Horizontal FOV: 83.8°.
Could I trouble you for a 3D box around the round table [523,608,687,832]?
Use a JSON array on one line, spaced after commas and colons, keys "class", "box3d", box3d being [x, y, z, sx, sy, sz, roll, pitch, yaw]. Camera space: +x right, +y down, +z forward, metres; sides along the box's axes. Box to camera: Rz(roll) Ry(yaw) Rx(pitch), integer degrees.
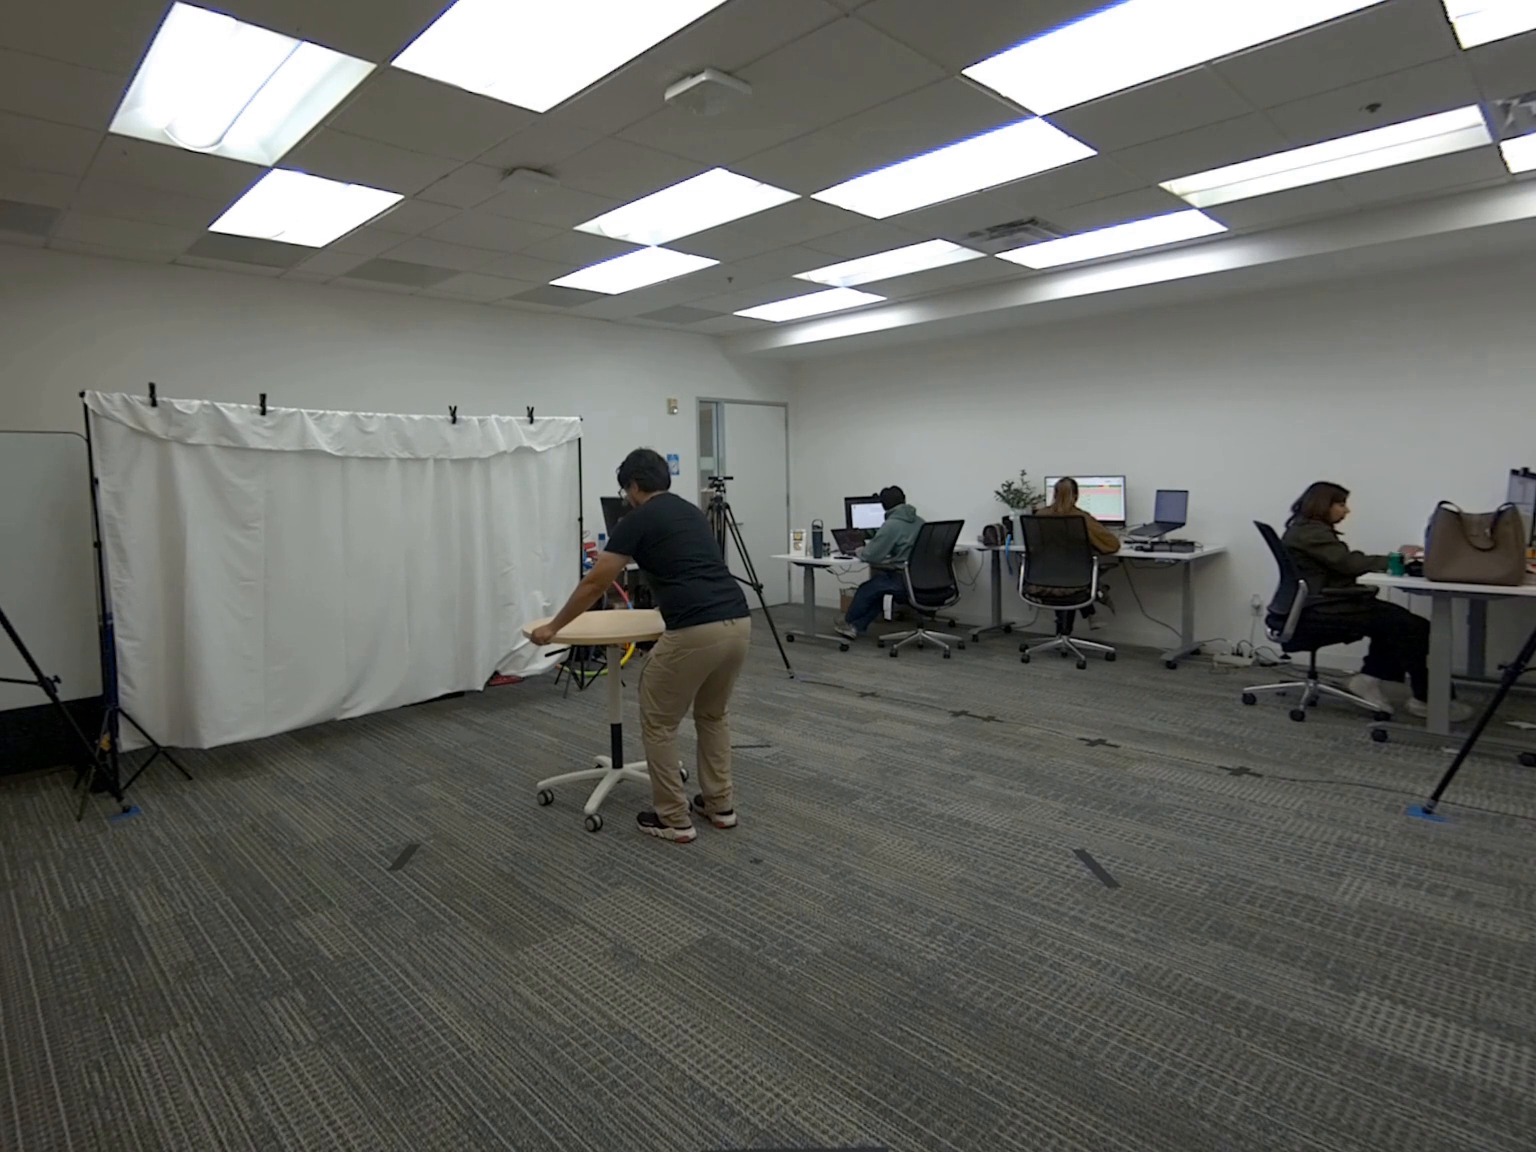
[{"class": "round table", "box3d": [-0.671, 0.584, 3.713, 0.784, 0.783, 0.789, -2, 5, -2]}]
